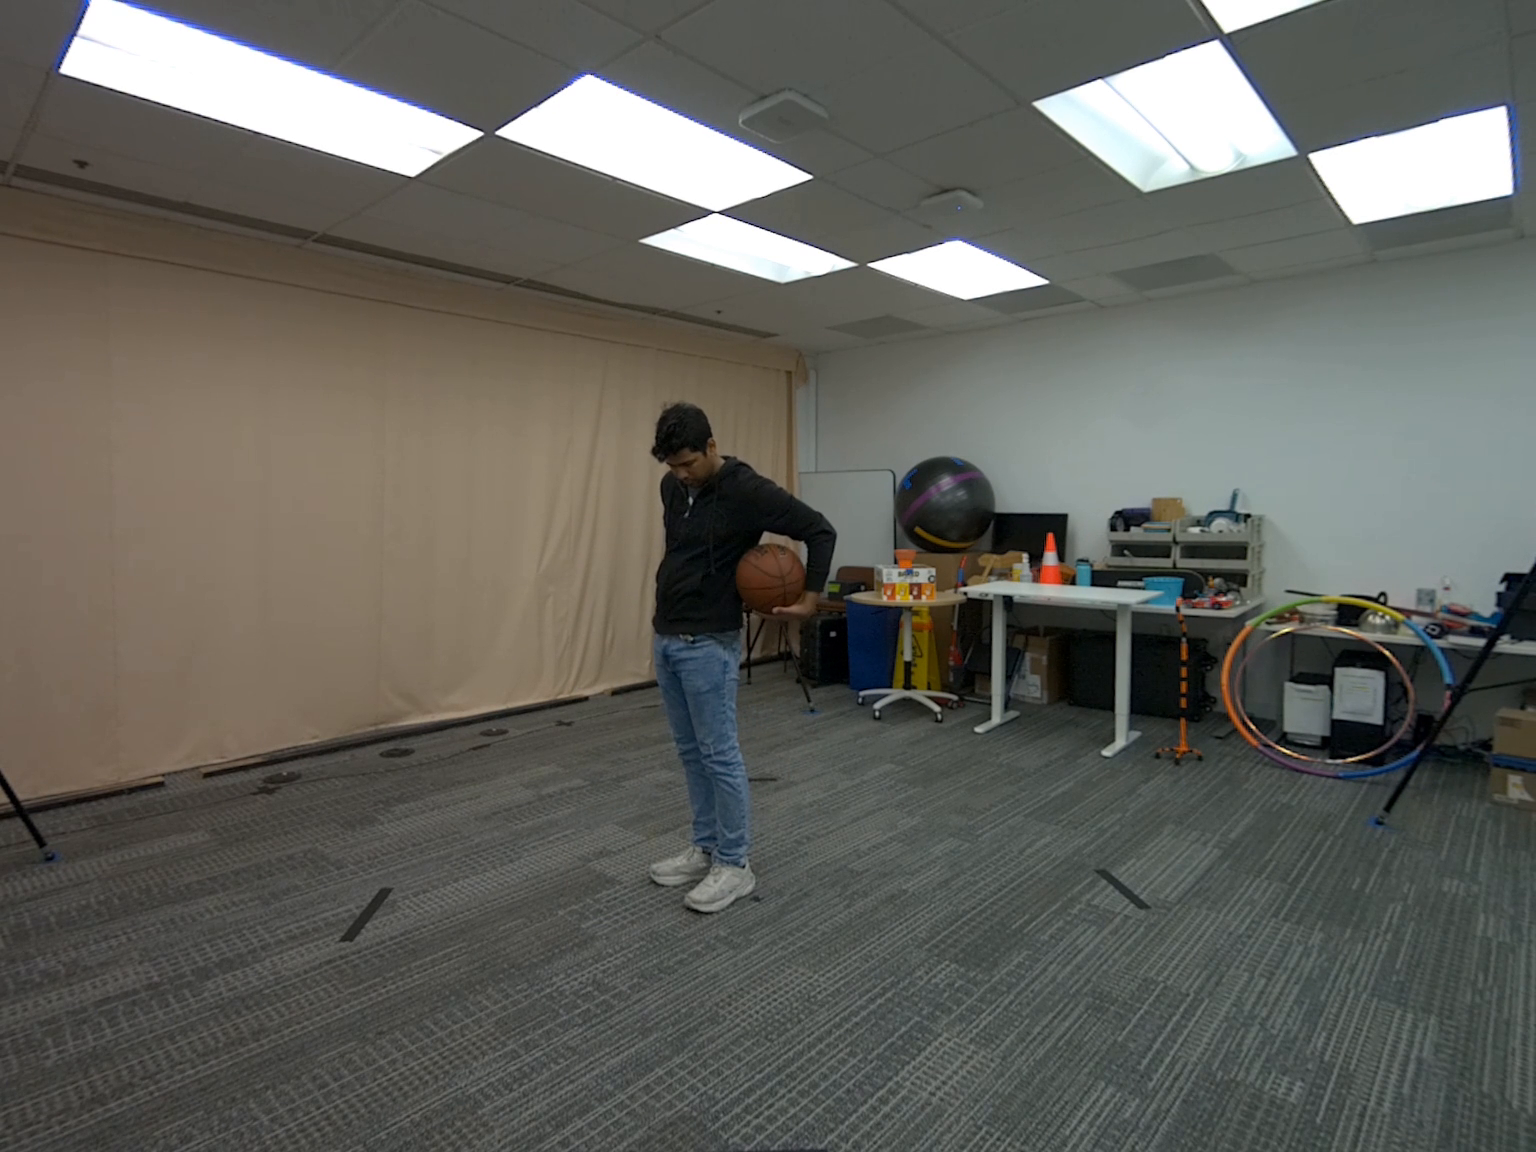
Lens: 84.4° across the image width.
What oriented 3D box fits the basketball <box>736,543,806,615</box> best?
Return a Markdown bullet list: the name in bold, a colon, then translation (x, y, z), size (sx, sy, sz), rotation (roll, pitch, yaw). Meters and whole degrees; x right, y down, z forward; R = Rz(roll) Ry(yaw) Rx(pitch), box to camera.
- **basketball**: translation (0.002, 0.009, 2.863), size (0.236, 0.235, 0.237), rotation (0, 4, -2)
